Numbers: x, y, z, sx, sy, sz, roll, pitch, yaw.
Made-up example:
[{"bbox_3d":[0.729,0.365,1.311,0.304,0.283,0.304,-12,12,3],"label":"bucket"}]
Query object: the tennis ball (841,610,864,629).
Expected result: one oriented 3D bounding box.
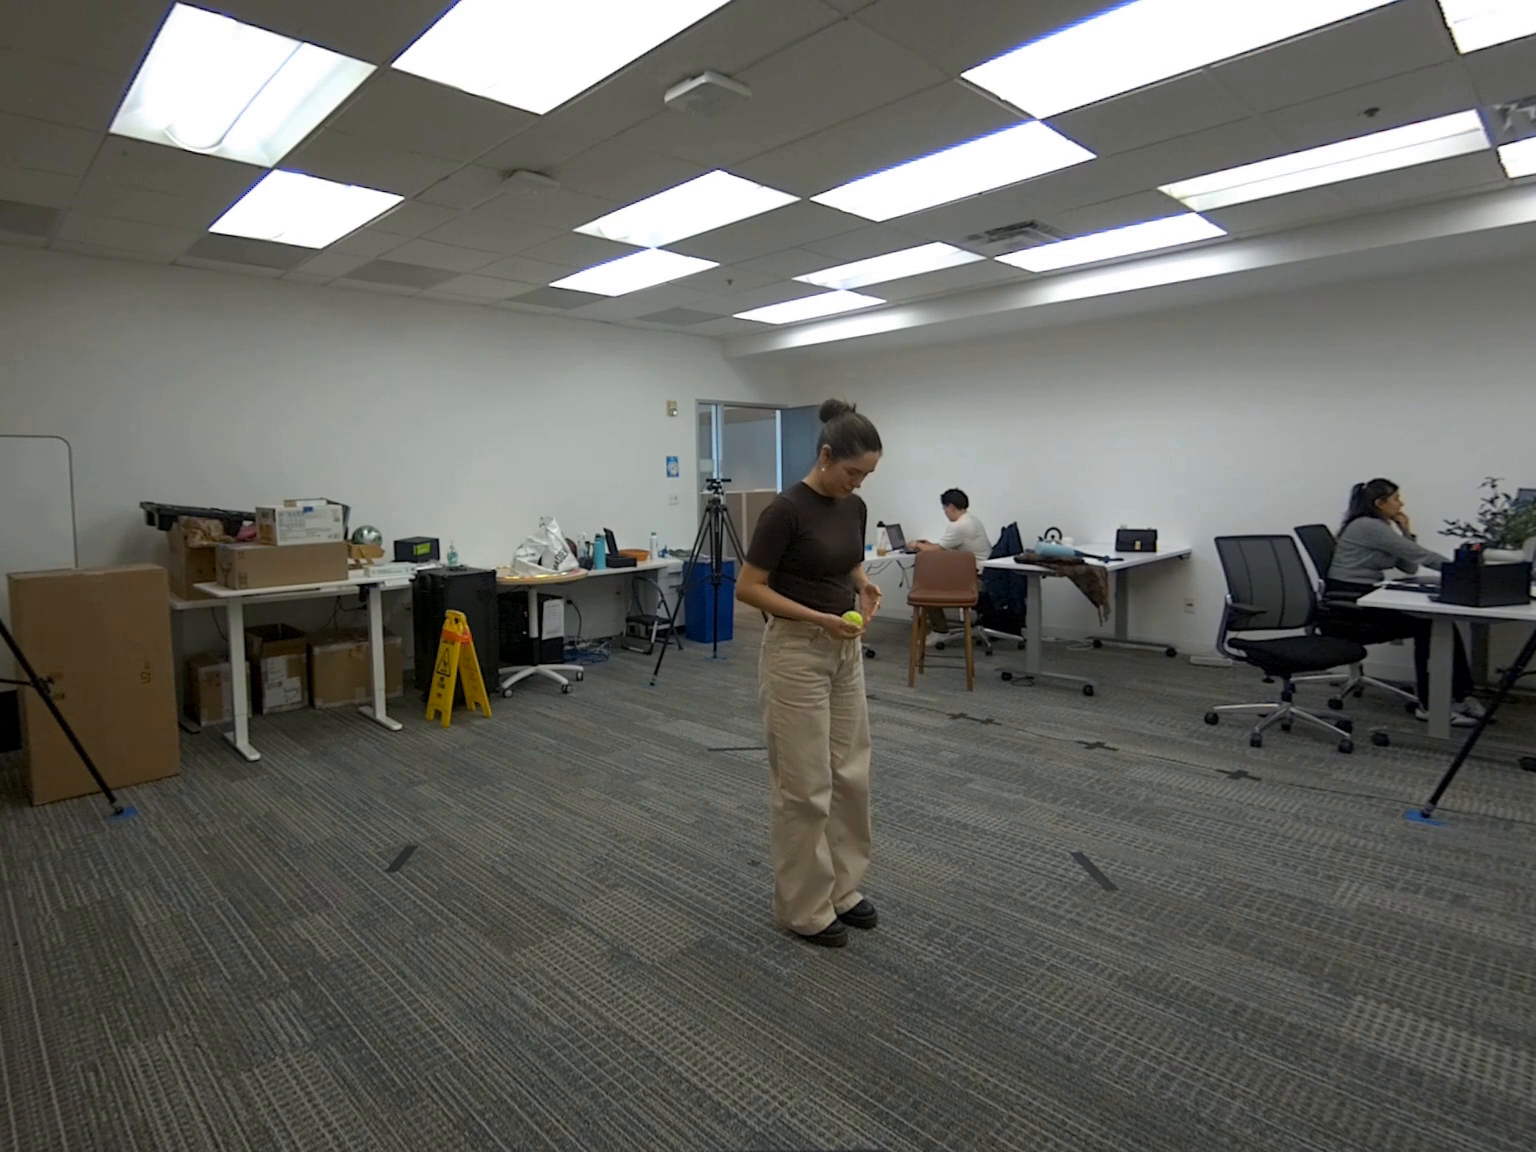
[{"bbox_3d":[0.237,0.131,2.507,0.066,0.066,0.067,-1,5,-2],"label":"tennis ball"}]
